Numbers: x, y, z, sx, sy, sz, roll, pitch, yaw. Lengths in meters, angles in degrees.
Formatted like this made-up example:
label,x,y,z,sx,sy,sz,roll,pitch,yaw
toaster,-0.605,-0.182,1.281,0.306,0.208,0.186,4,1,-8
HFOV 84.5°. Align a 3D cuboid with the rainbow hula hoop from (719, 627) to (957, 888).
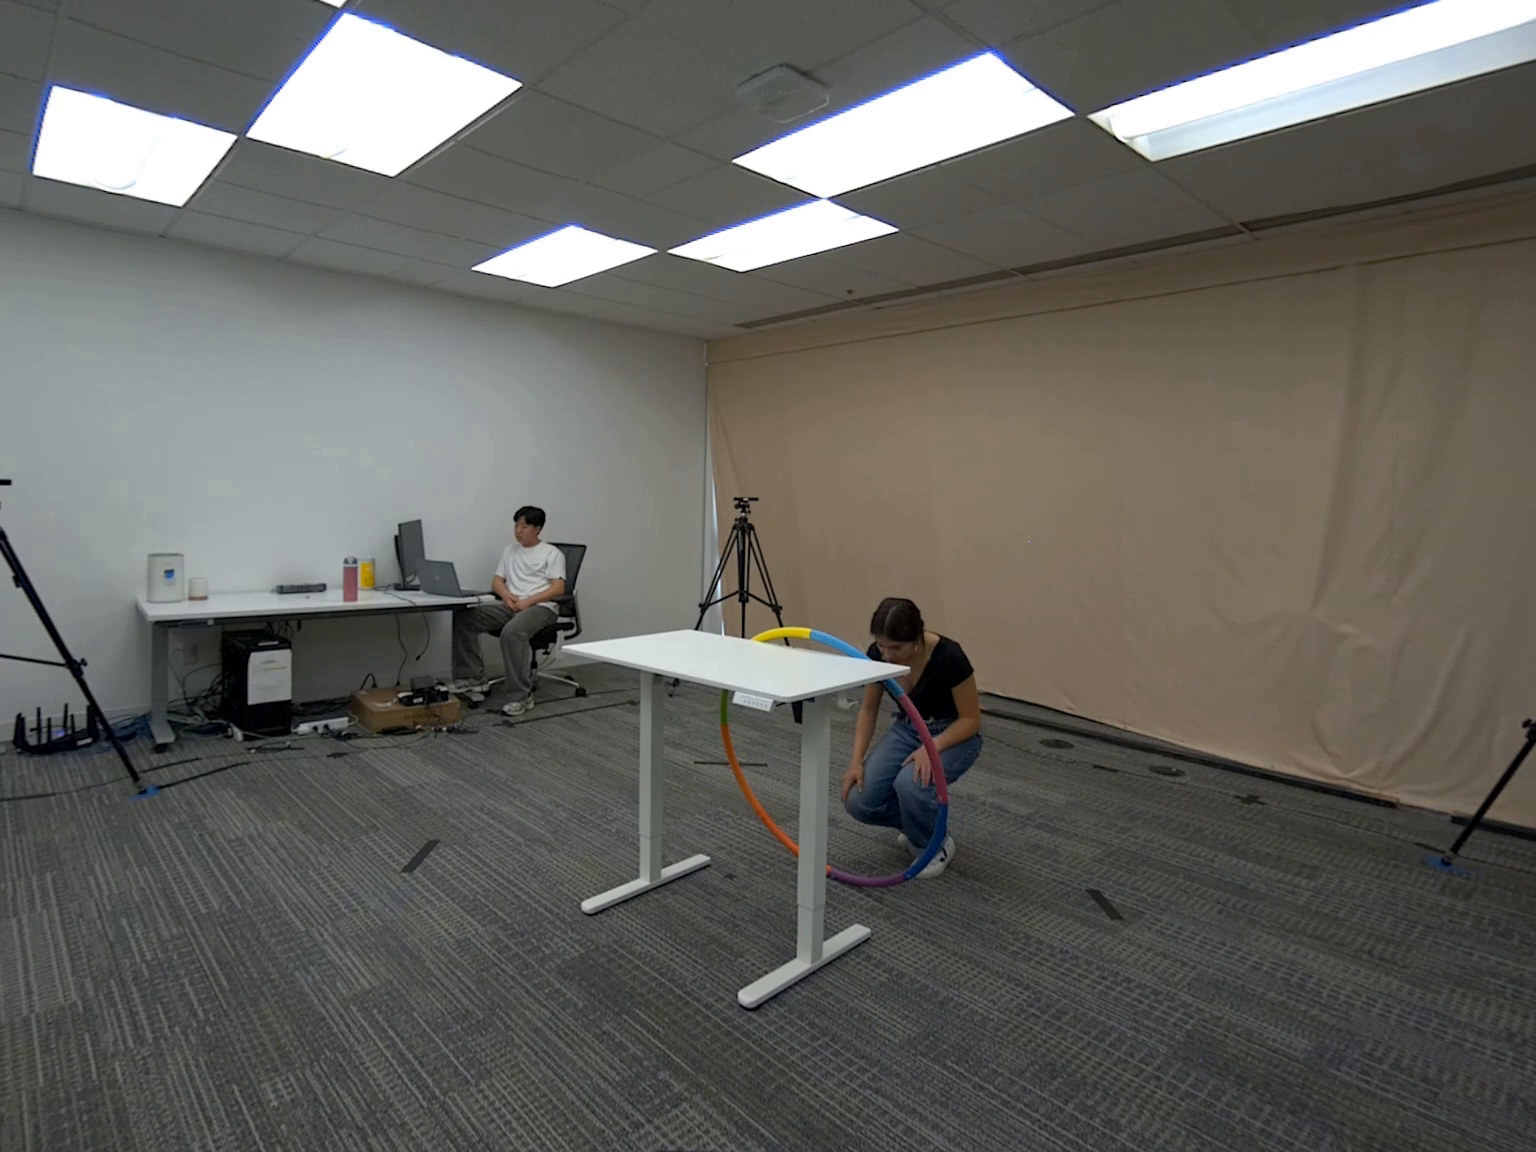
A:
label,x,y,z,sx,sy,sz,roll,pitch,yaw
rainbow hula hoop,0.196,0.649,3.000,1.004,0.967,0.035,5,19,43
